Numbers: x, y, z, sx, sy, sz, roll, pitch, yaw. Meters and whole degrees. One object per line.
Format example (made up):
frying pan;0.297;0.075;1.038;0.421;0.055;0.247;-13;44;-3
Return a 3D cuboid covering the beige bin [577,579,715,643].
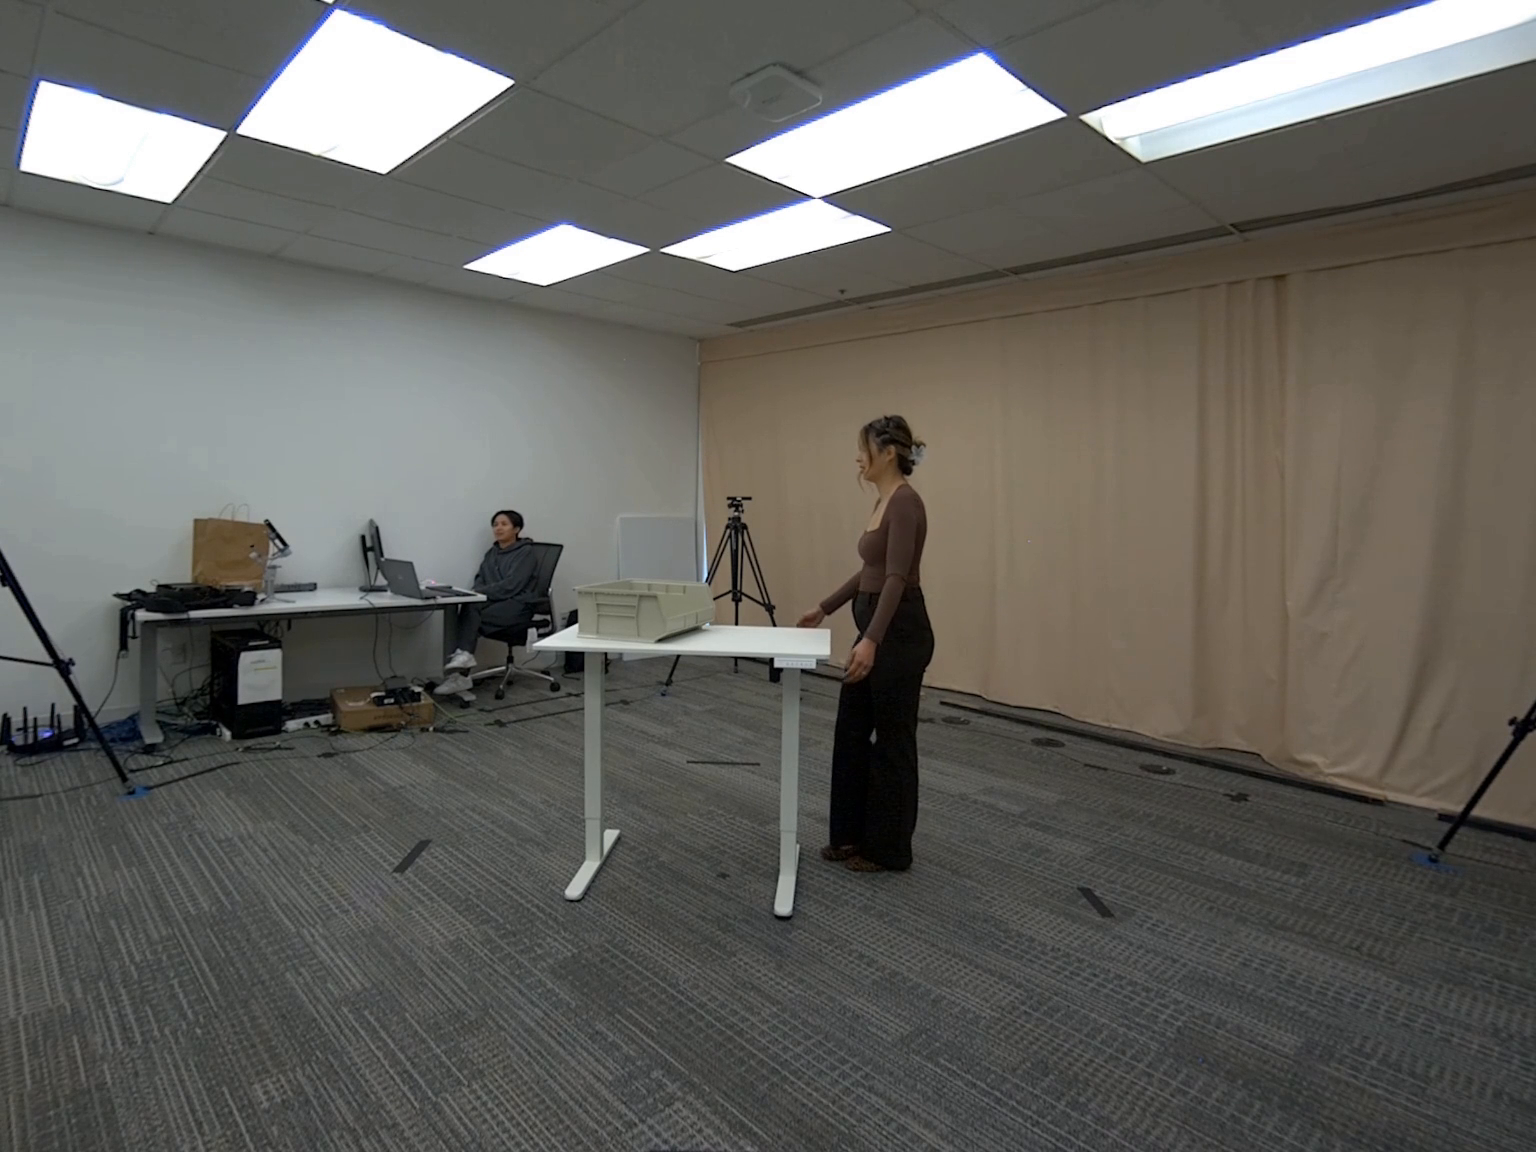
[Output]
beige bin;-0.452;0.127;3.134;0.383;0.188;0.416;1;4;20
